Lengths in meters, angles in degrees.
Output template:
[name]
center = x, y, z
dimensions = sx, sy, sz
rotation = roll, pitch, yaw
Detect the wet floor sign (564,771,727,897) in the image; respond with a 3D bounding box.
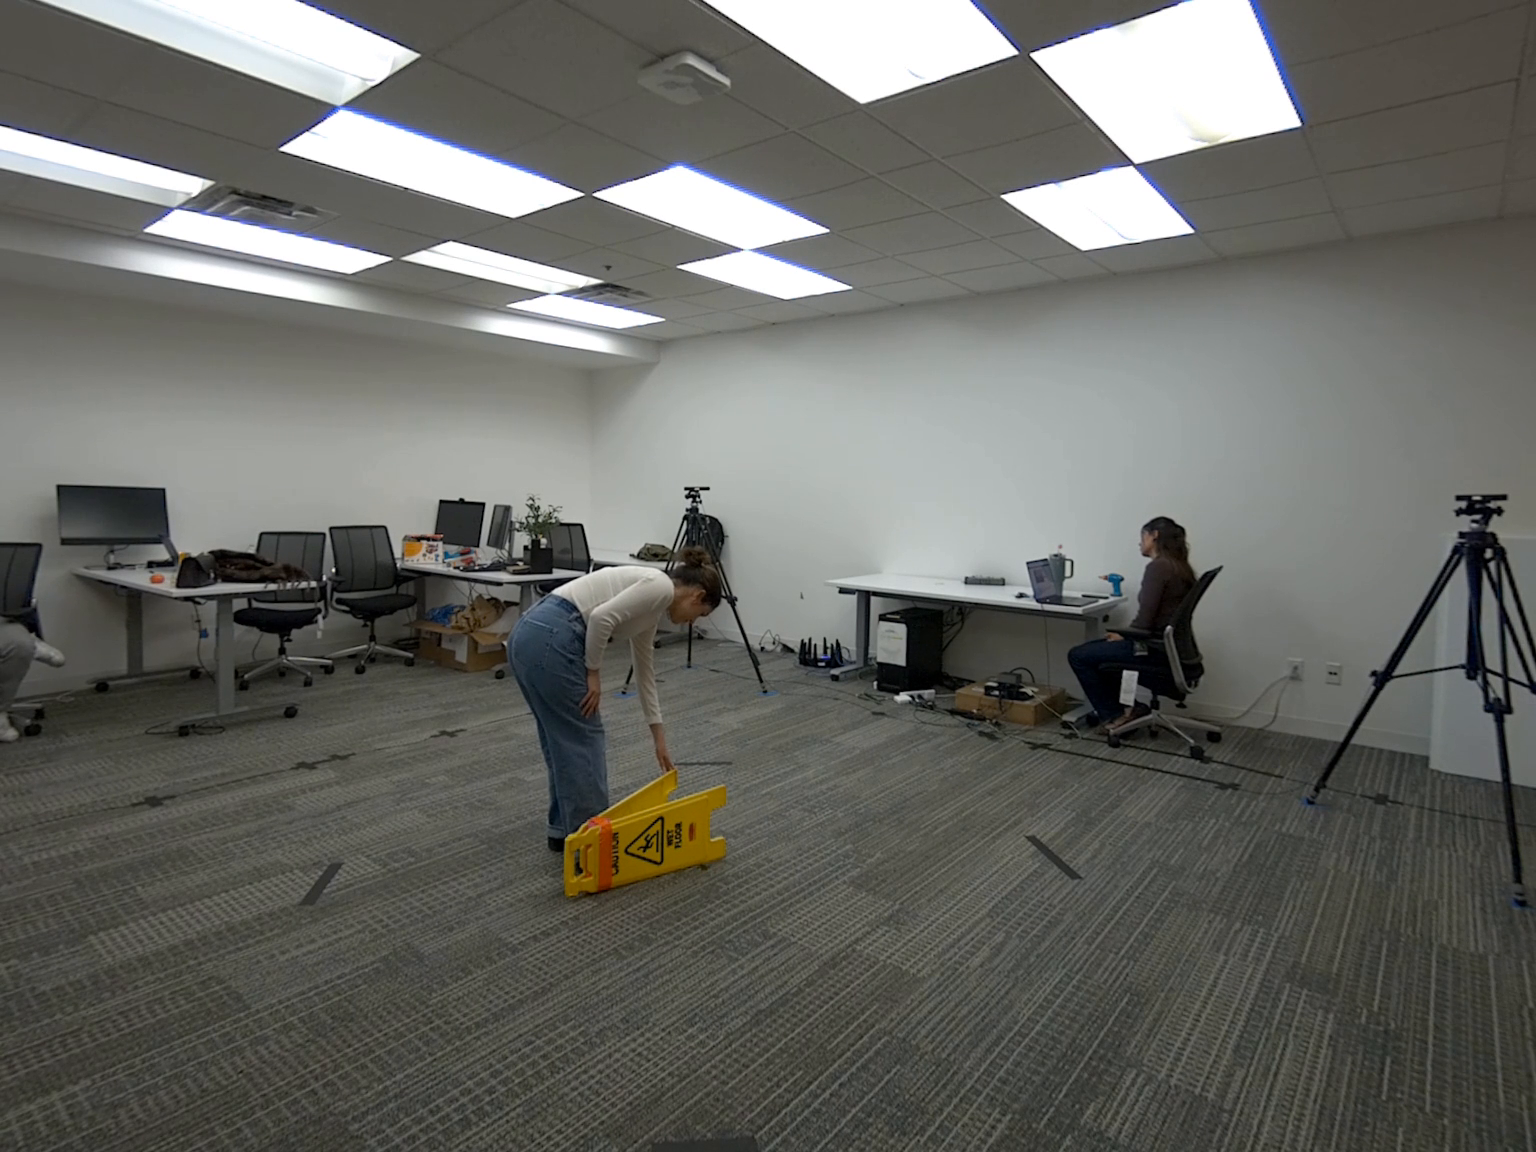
[wet floor sign]
center = -0.472, 0.938, 3.050
dimensions = 0.299, 0.281, 0.627
rotation = 4, 7, 41
